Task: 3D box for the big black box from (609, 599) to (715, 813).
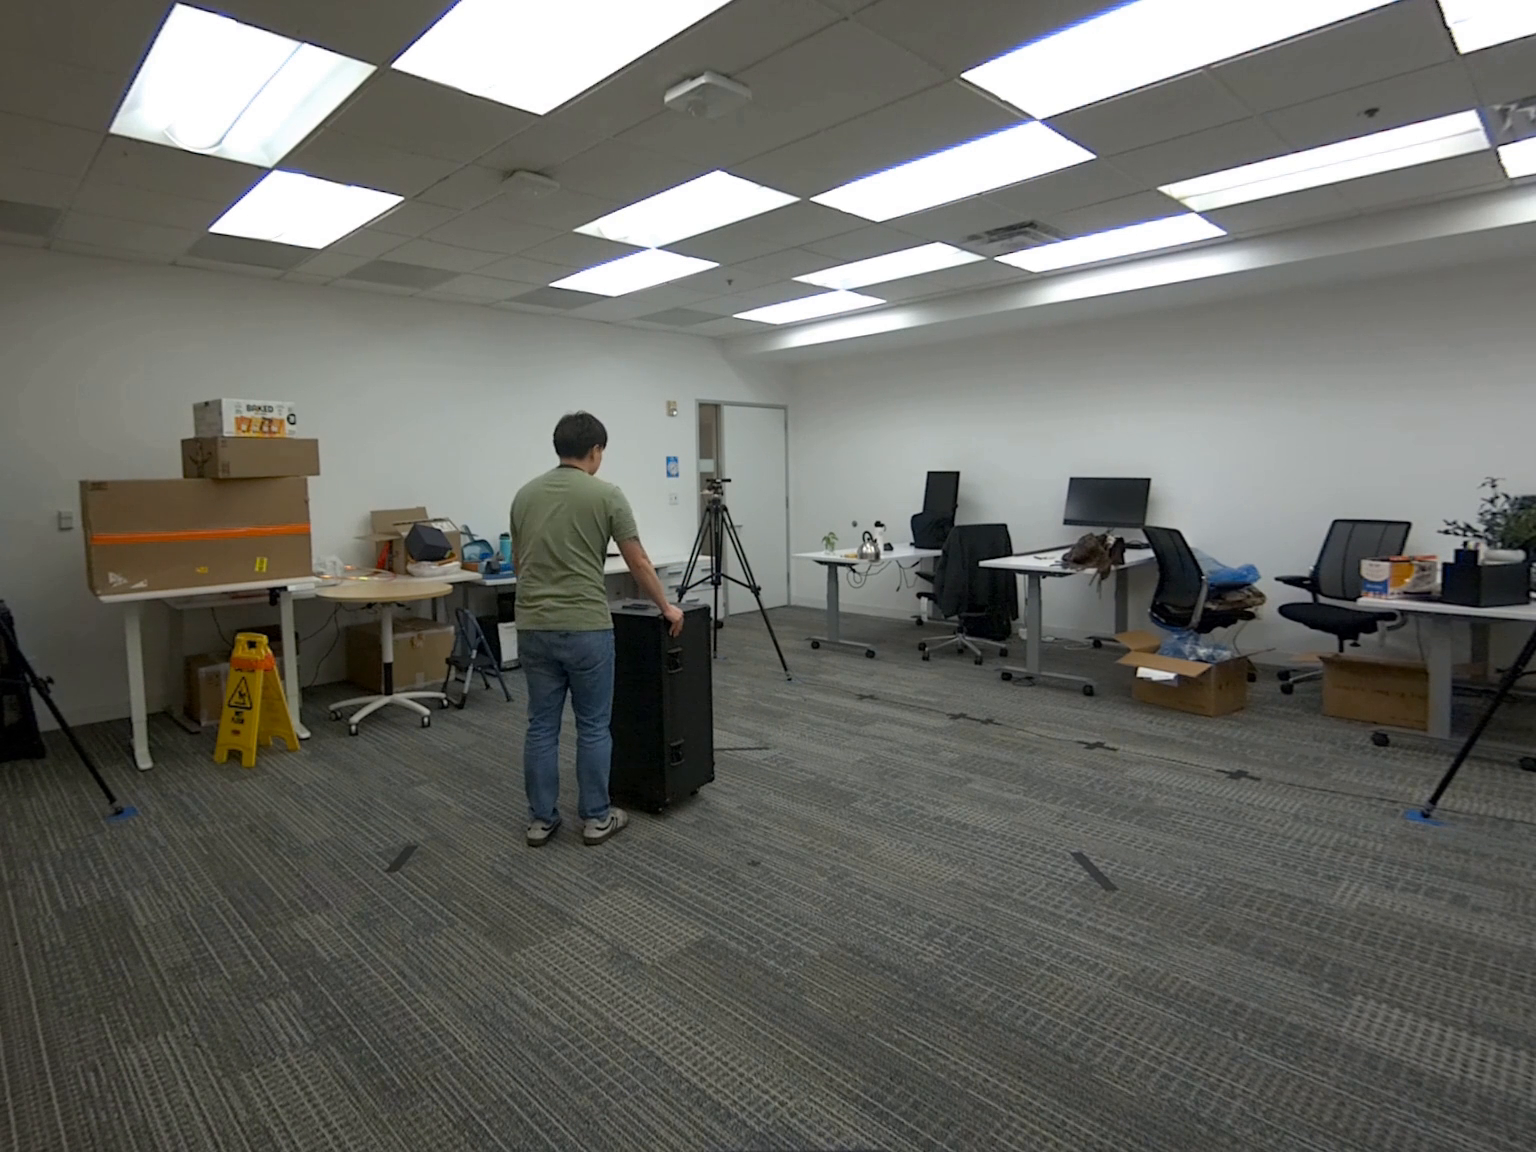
[{"bbox_3d":[-0.532,0.557,3.756,0.536,0.859,0.386,1,3,34],"label":"big black box"}]
